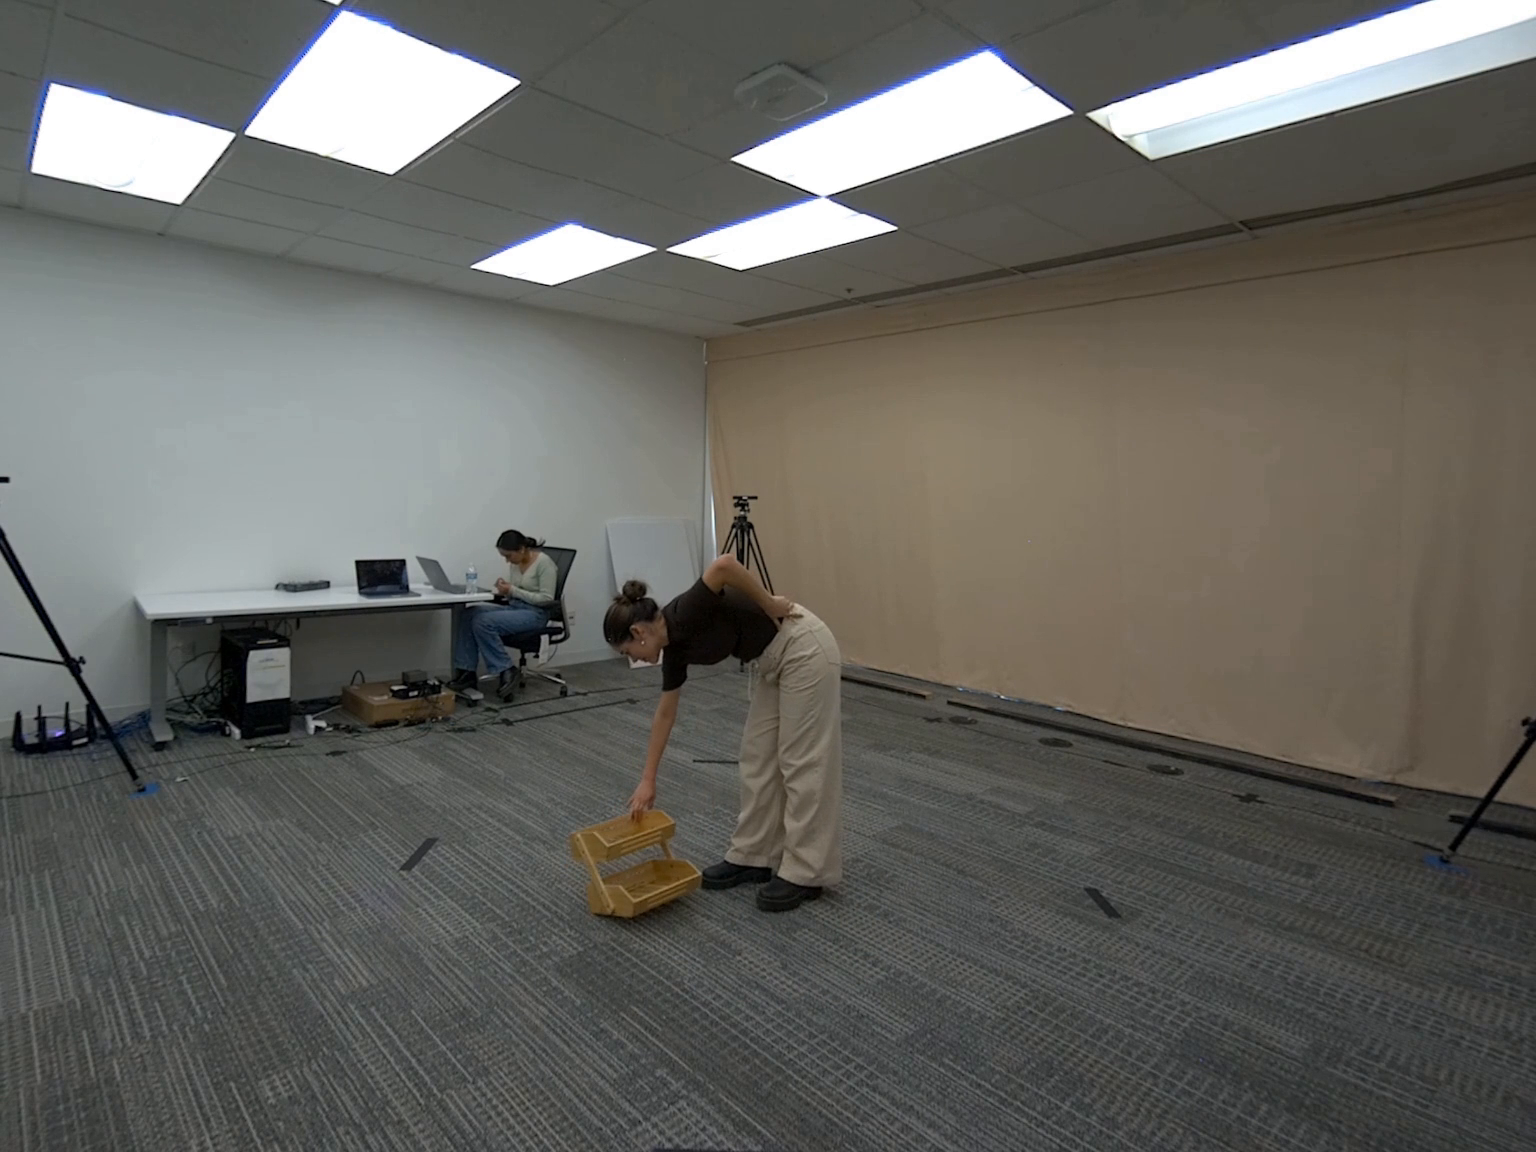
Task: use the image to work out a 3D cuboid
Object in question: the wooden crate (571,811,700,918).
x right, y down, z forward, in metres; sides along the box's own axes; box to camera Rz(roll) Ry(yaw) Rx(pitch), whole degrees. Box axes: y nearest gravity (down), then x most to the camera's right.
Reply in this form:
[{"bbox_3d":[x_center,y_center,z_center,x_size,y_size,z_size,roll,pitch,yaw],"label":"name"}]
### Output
[{"bbox_3d":[-0.456,0.963,2.861,0.306,0.275,0.317,-18,-11,42],"label":"wooden crate"}]
